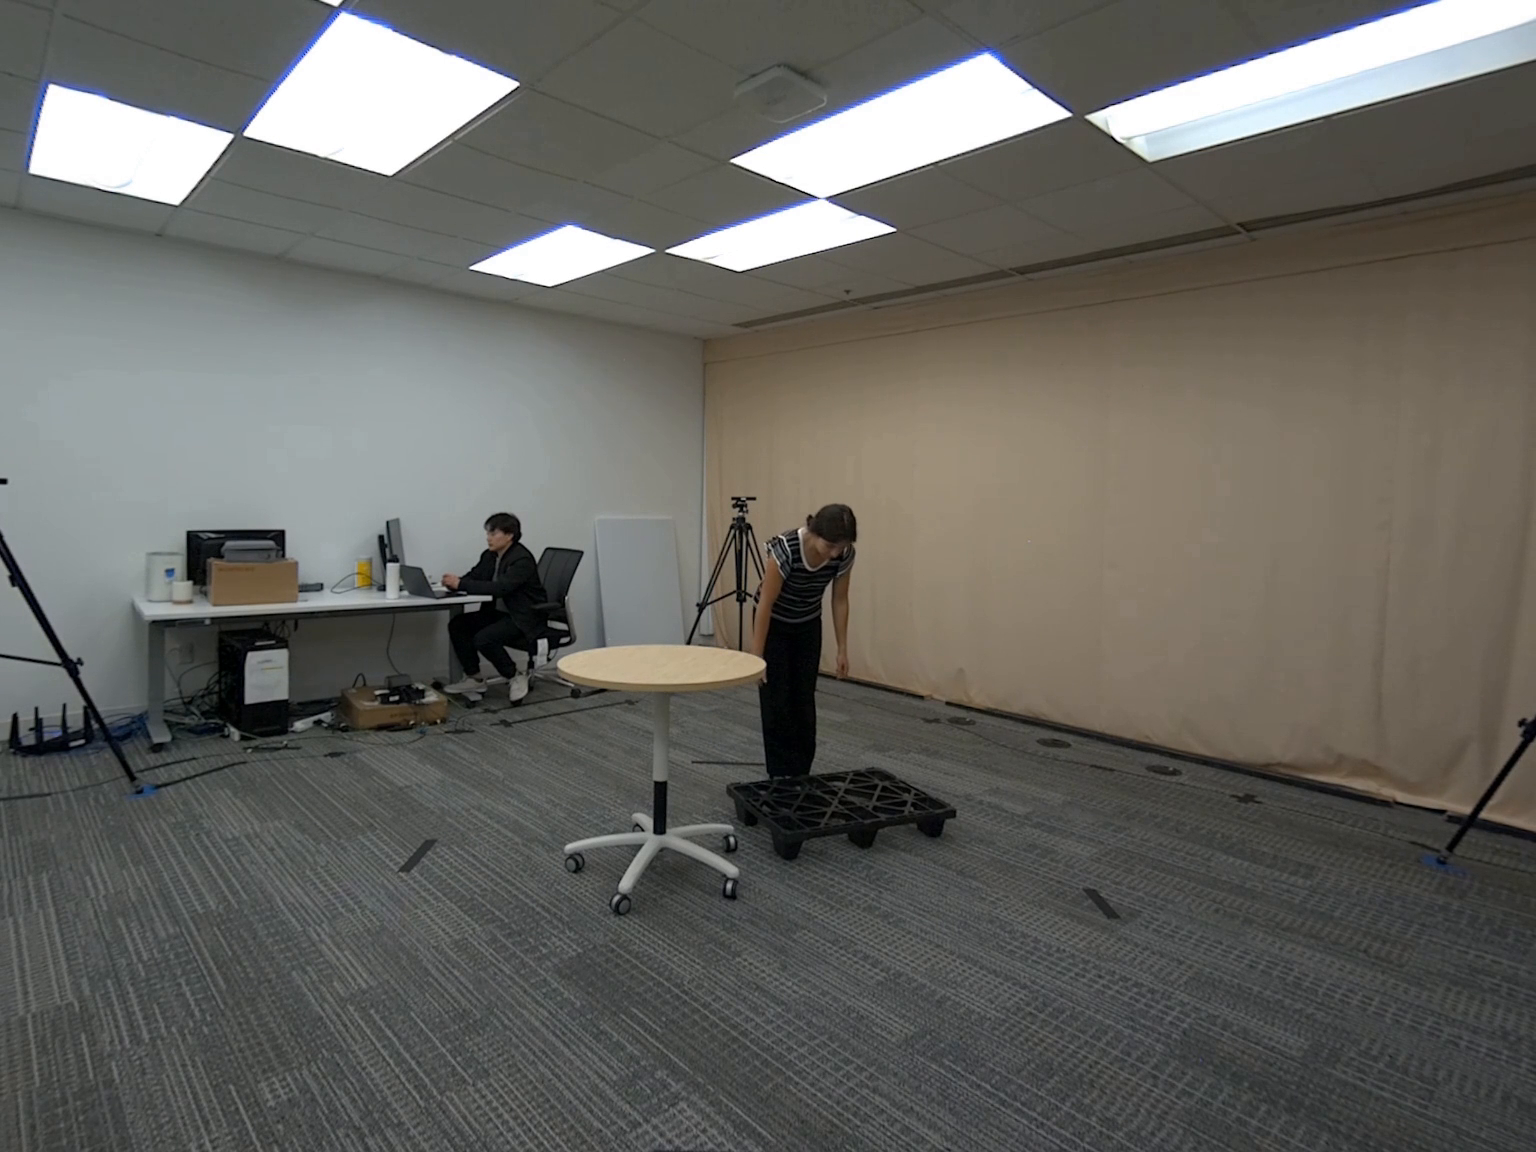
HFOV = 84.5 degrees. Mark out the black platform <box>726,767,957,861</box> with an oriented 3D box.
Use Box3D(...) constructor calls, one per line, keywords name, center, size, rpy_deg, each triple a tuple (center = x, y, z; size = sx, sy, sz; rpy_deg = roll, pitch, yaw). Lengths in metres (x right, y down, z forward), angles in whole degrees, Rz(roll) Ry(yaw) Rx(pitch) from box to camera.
Box3D(name="black platform", center=(0.289, 1.009, 3.598), size=(0.792, 0.143, 0.617), rpy_deg=(-1, 6, -24))
